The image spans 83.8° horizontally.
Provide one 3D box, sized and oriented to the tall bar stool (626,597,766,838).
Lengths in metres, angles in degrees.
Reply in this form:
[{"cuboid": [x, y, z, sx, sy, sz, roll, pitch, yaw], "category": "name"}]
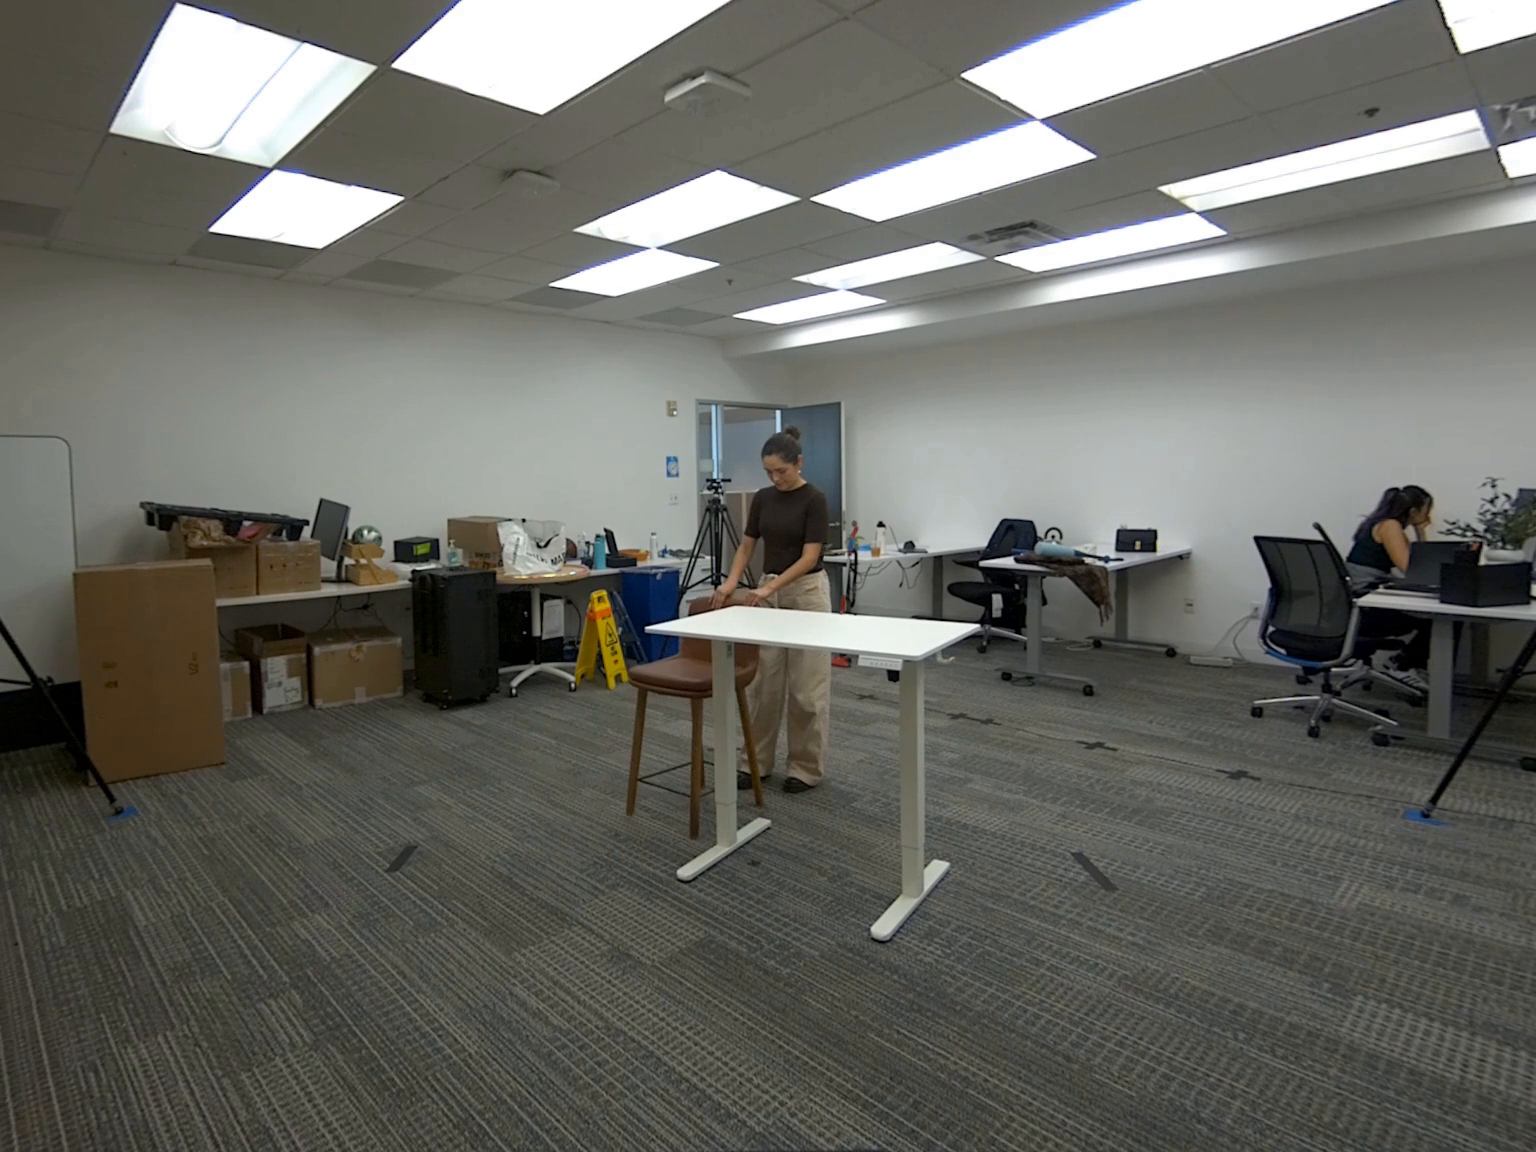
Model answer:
[{"cuboid": [-0.306, 0.553, 3.603, 0.470, 0.889, 0.454, 2, 2, 41], "category": "tall bar stool"}]
